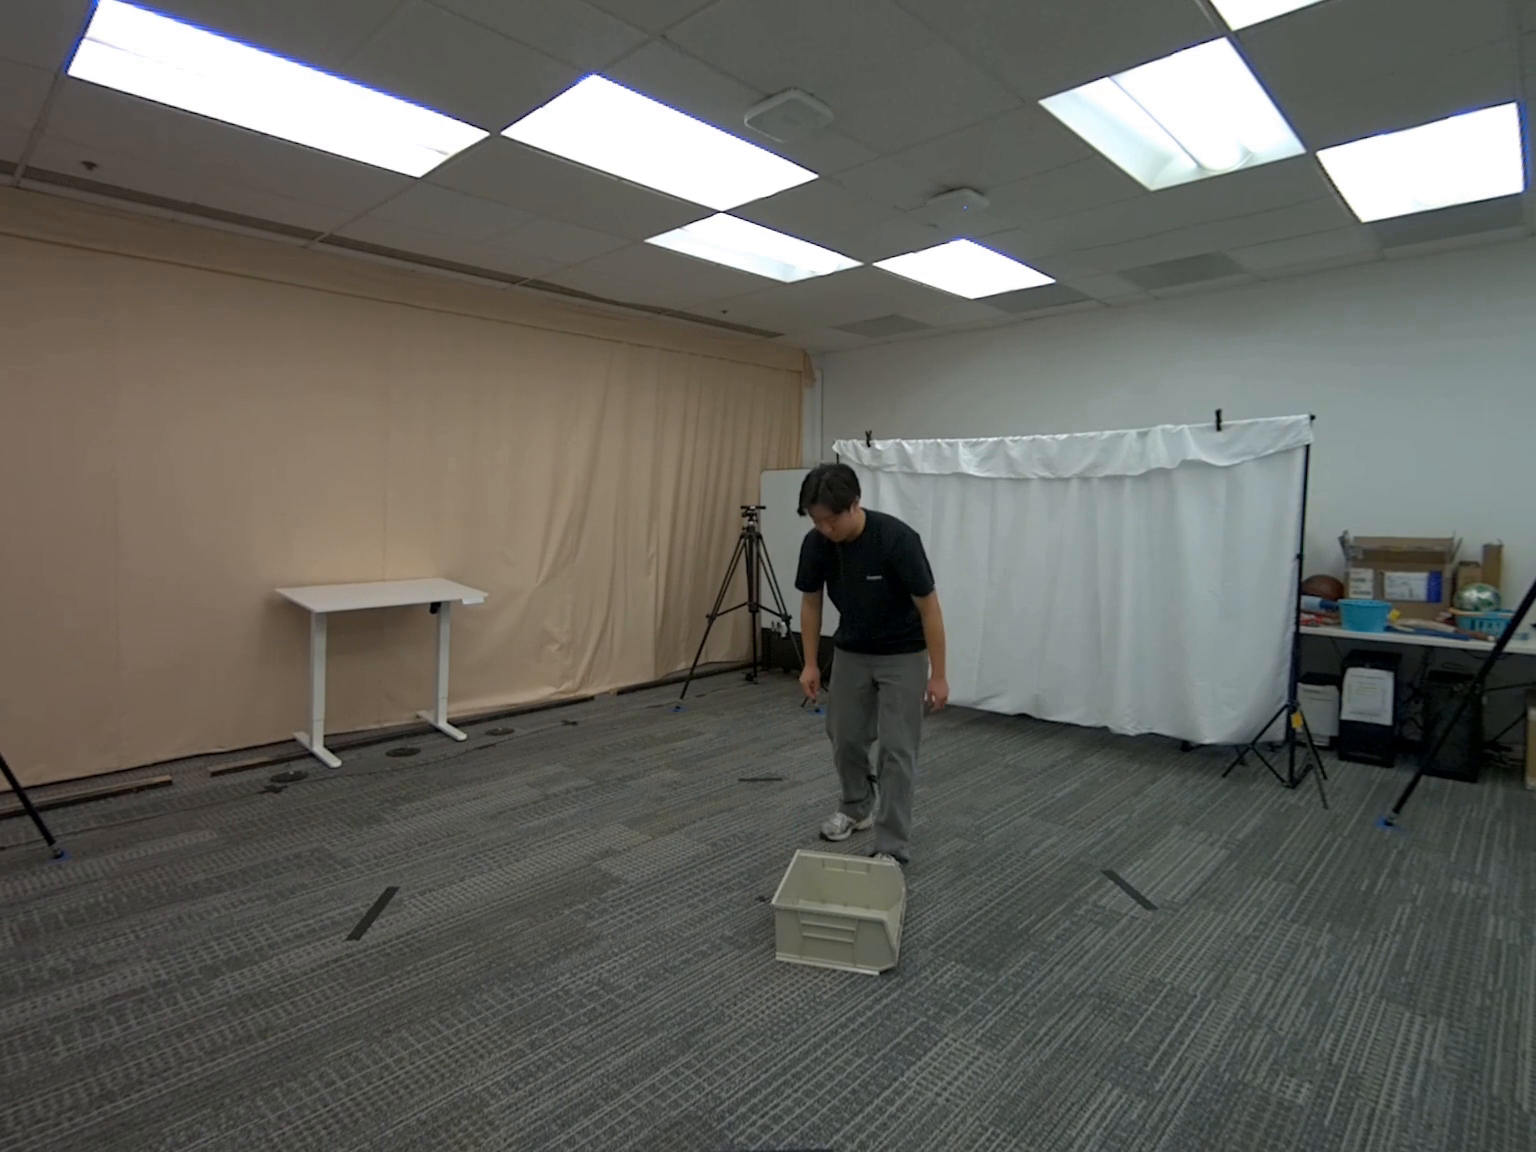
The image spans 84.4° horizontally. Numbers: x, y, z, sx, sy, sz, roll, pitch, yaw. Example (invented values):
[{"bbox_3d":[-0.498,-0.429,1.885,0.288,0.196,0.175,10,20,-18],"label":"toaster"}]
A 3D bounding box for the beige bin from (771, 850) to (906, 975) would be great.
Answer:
[{"bbox_3d":[0.245,1.078,2.719,0.384,0.188,0.416,0,5,15],"label":"beige bin"}]
